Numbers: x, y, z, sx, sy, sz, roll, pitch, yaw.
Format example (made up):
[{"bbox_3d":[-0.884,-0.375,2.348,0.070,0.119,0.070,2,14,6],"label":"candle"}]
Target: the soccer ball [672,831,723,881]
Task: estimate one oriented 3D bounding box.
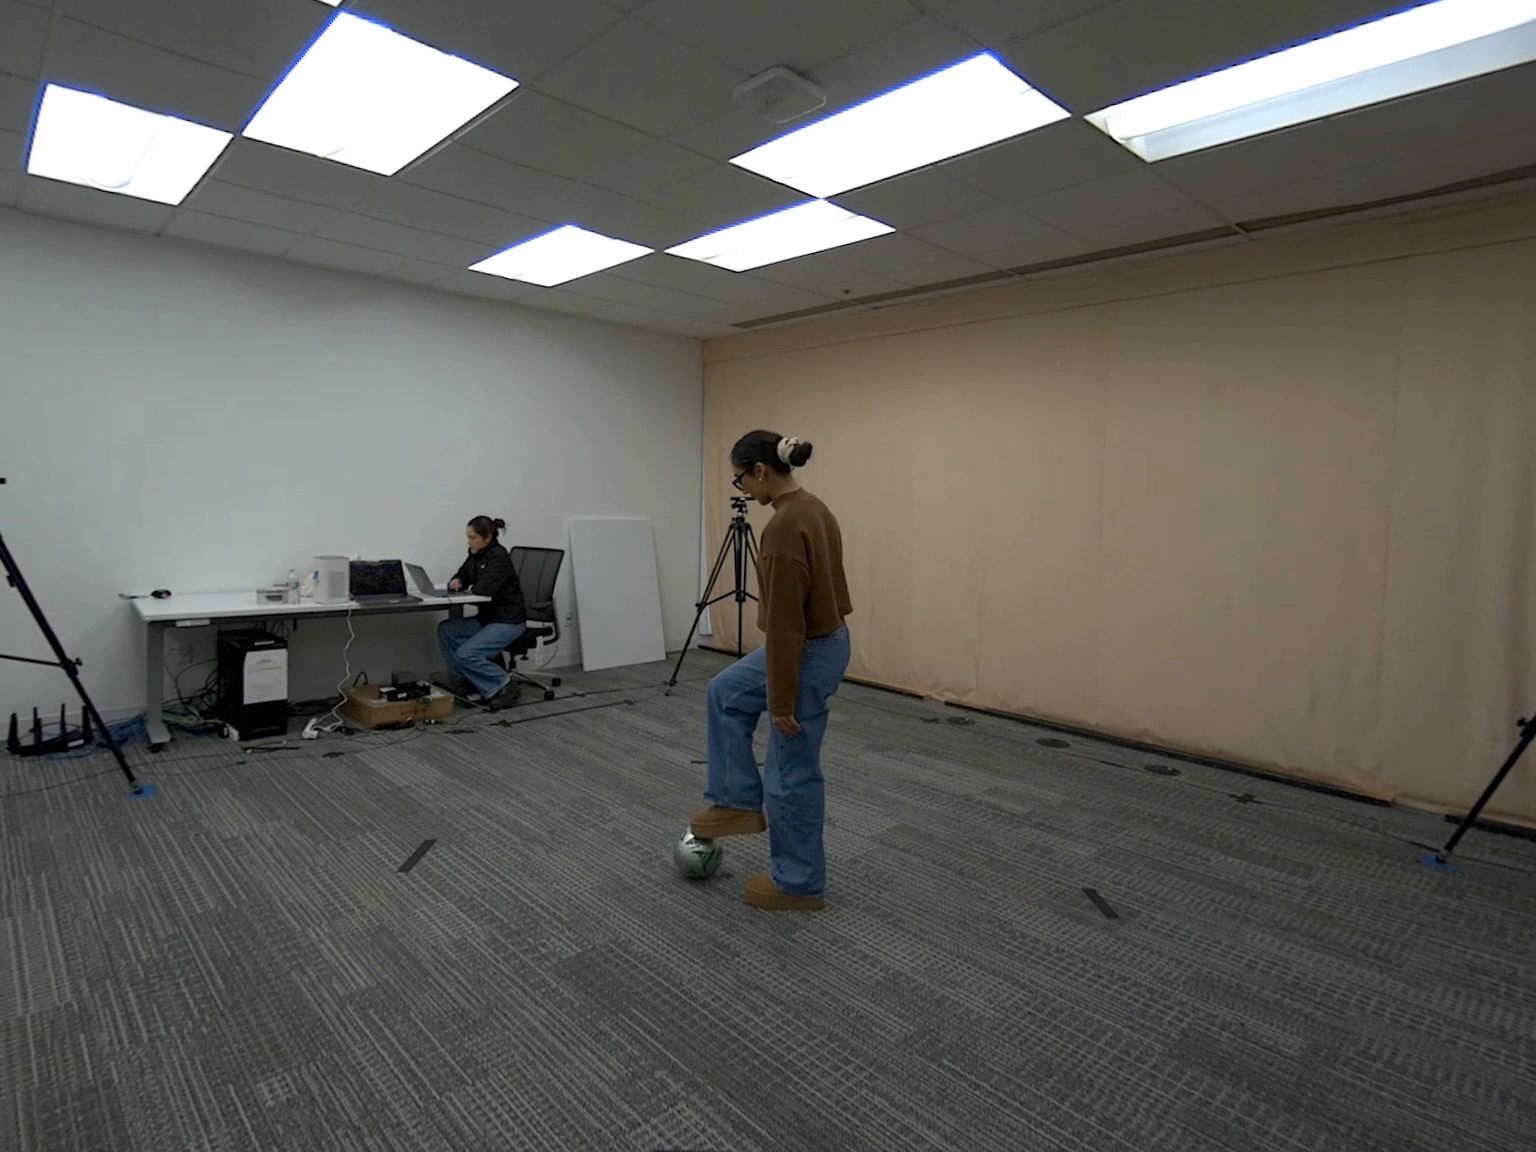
[{"bbox_3d":[-0.266,1.011,3.100,0.187,0.187,0.188,1,4,-1],"label":"soccer ball"}]
